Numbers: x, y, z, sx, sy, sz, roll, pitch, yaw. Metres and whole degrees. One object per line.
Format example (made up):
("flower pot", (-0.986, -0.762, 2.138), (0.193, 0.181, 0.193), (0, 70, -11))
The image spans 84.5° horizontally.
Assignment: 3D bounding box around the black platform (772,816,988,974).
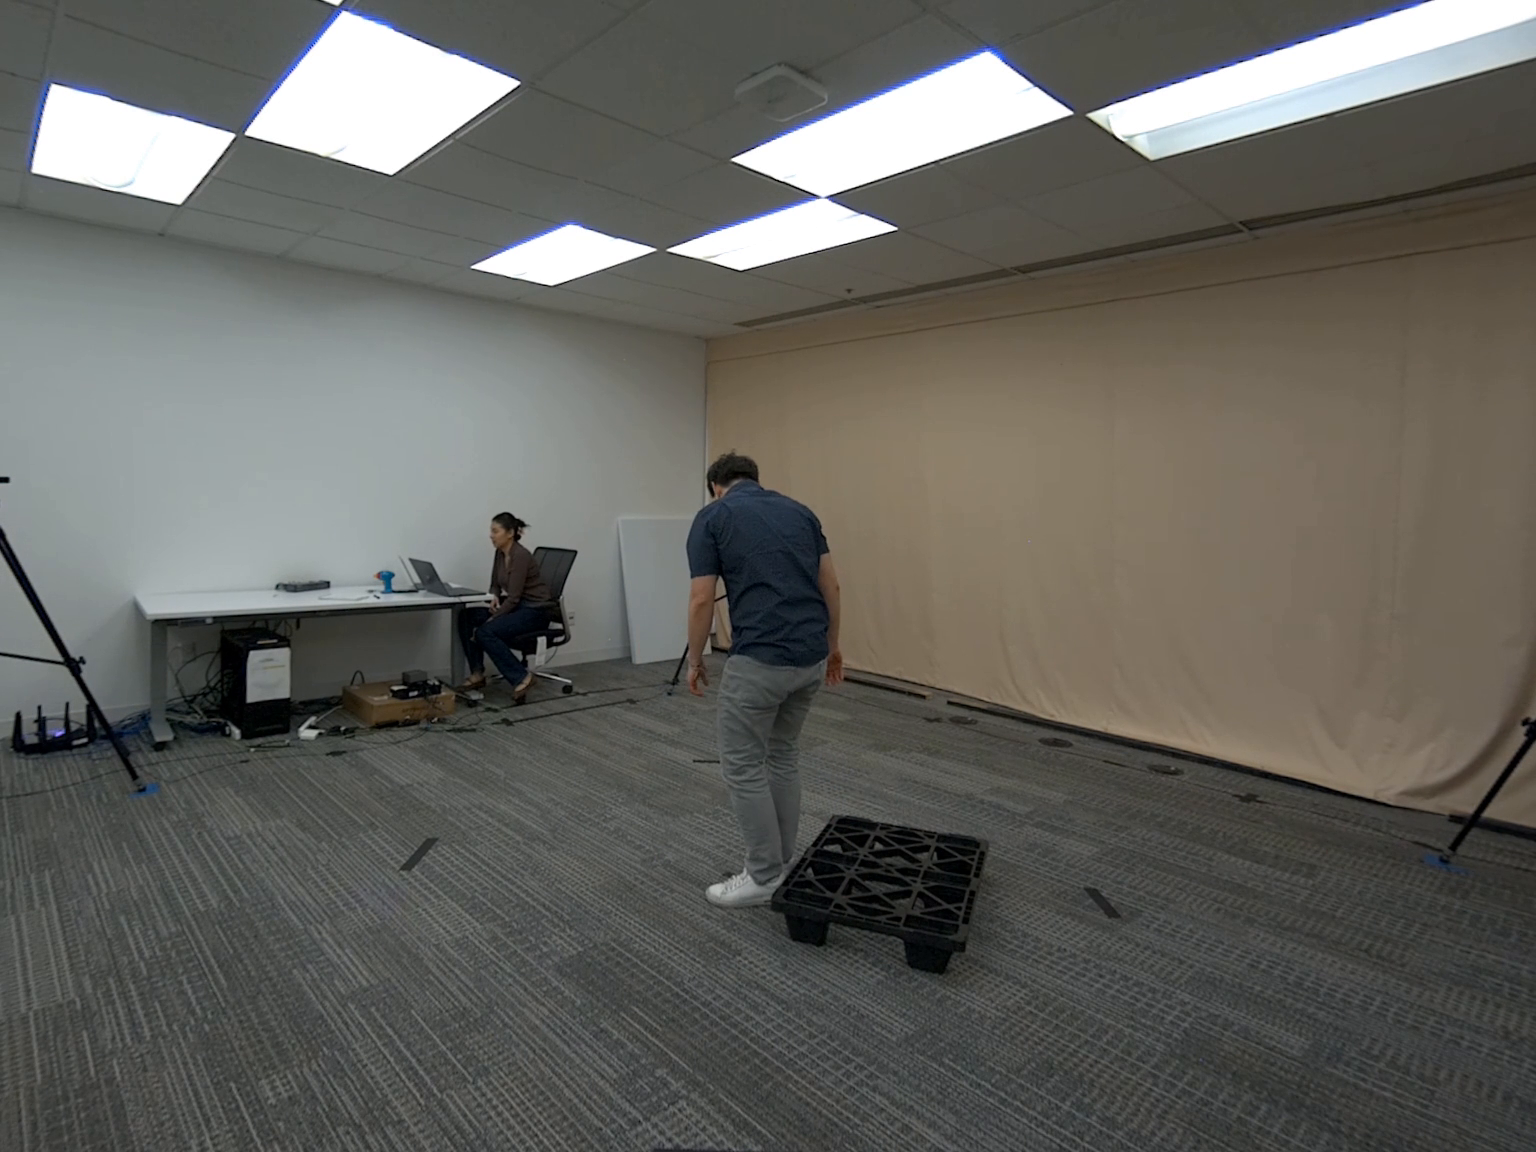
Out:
("black platform", (0.403, 1.067, 2.896), (0.615, 0.143, 0.794), (3, 5, 20))
